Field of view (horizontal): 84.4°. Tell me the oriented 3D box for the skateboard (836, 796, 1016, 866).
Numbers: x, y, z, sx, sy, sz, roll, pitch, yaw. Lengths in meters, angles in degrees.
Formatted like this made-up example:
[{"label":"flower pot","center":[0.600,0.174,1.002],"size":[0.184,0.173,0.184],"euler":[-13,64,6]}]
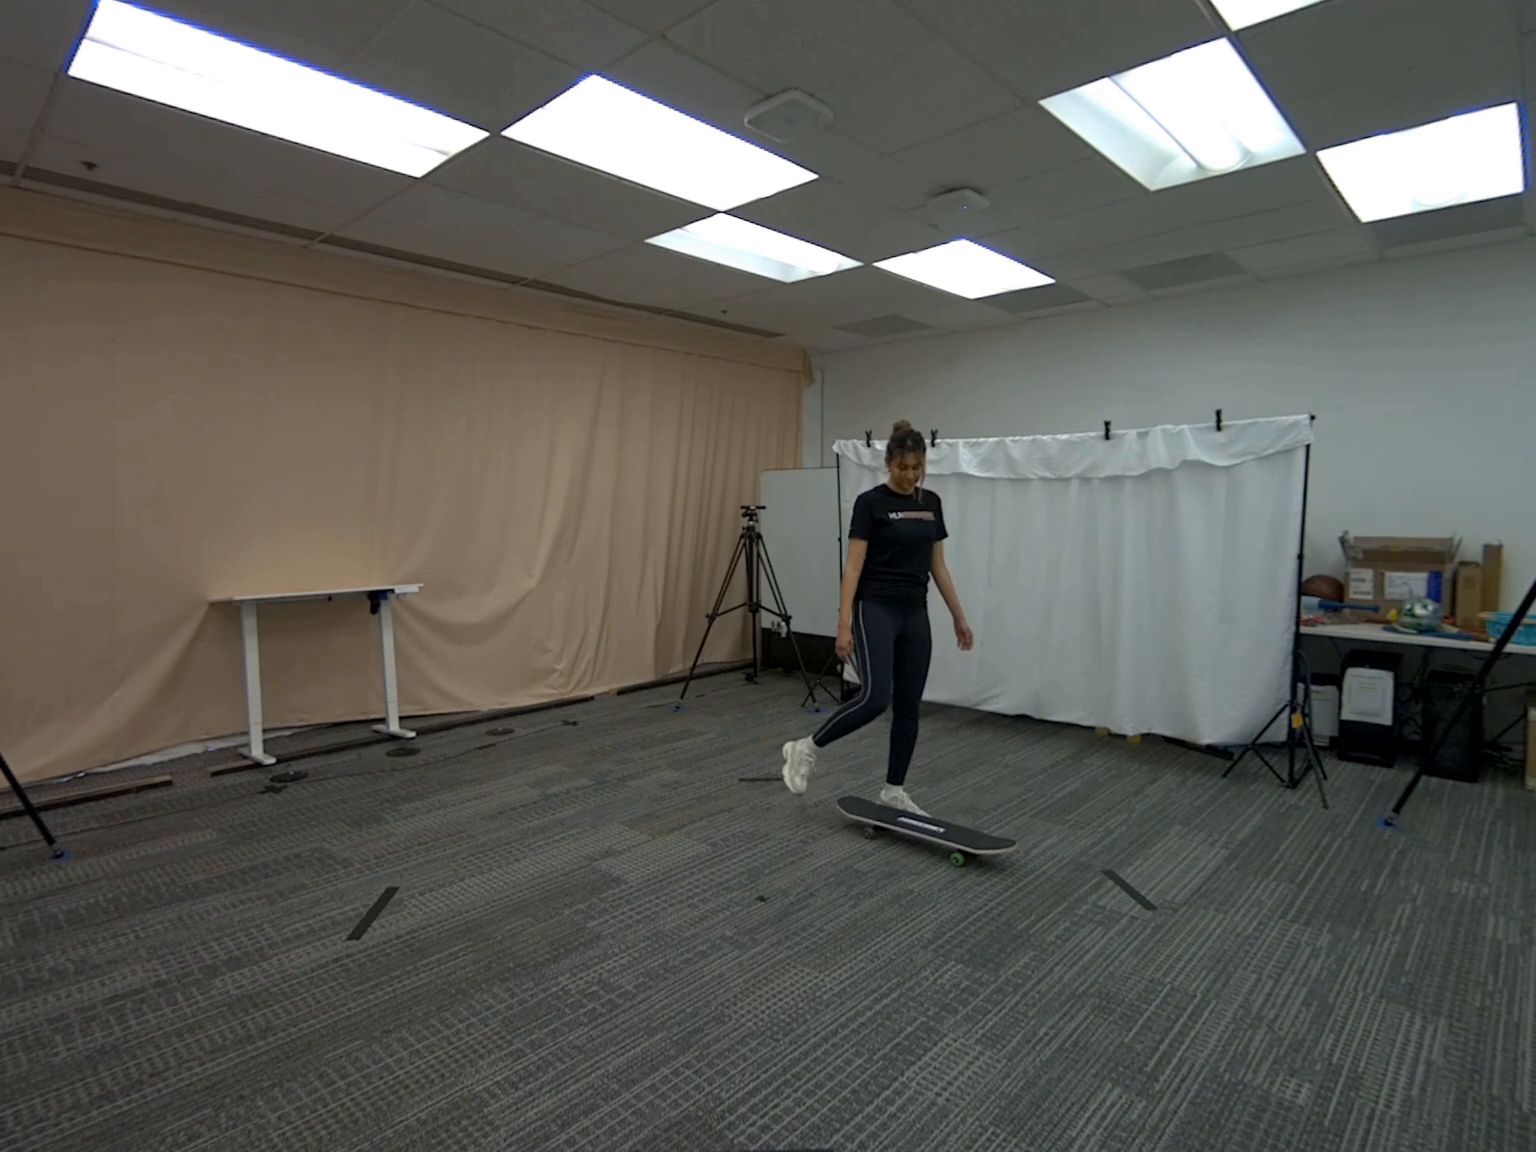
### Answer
[{"label":"skateboard","center":[0.632,1.045,3.442],"size":[0.811,0.110,0.187],"euler":[4,5,41]}]
